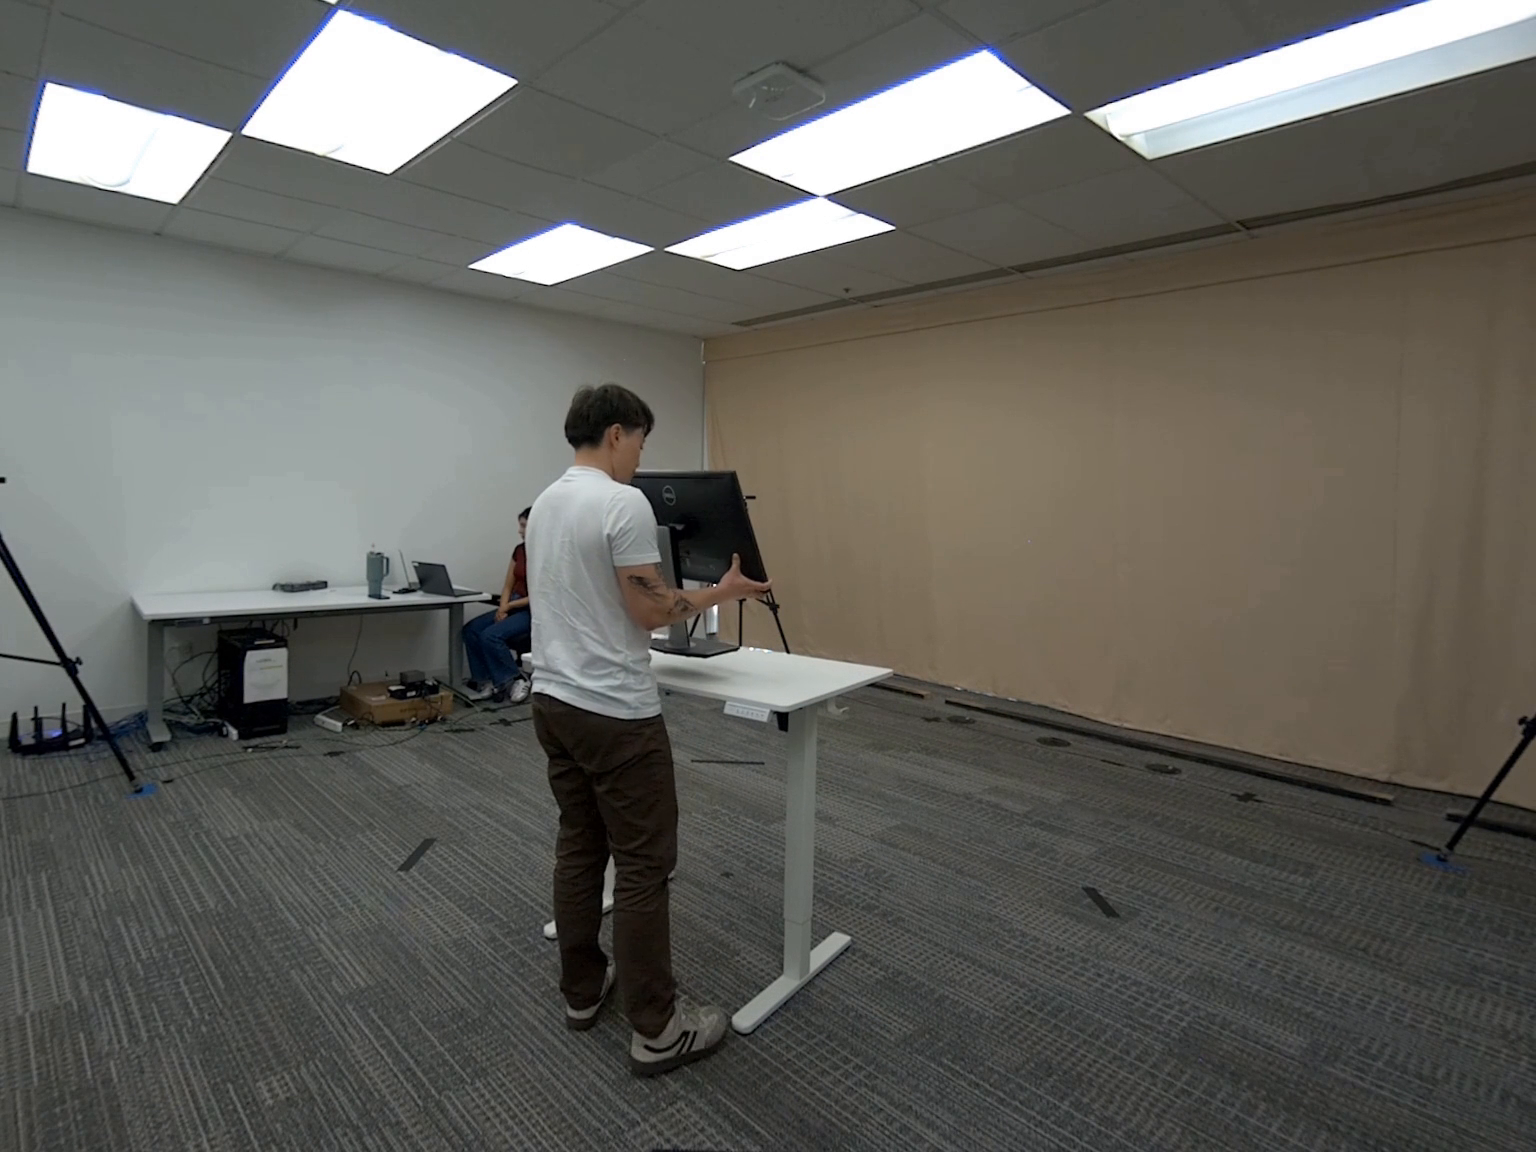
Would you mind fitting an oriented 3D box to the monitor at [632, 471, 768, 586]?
[{"bbox_3d":[-0.245,-0.042,2.406,0.184,0.518,0.553,-13,13,-42],"label":"monitor"}]
